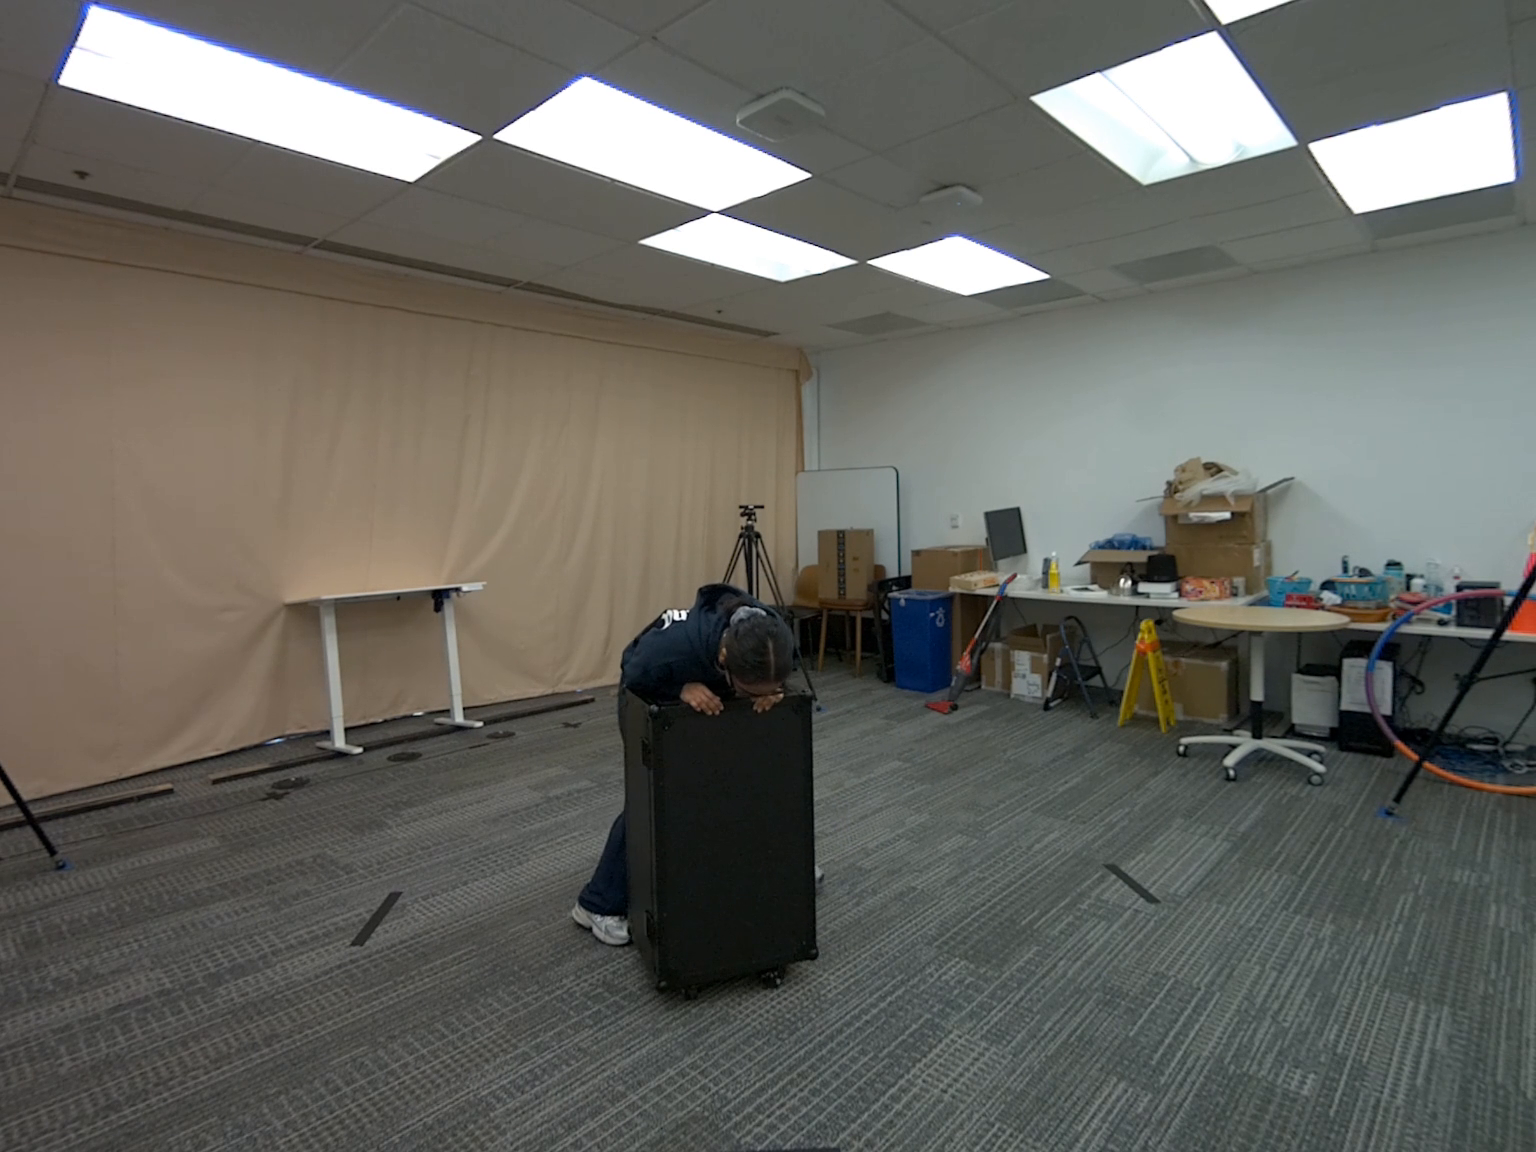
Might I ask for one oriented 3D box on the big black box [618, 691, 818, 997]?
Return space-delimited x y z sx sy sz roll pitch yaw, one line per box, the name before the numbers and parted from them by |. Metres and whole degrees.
big black box | -0.151 0.761 2.519 0.511 0.860 0.405 -3 2 -20
